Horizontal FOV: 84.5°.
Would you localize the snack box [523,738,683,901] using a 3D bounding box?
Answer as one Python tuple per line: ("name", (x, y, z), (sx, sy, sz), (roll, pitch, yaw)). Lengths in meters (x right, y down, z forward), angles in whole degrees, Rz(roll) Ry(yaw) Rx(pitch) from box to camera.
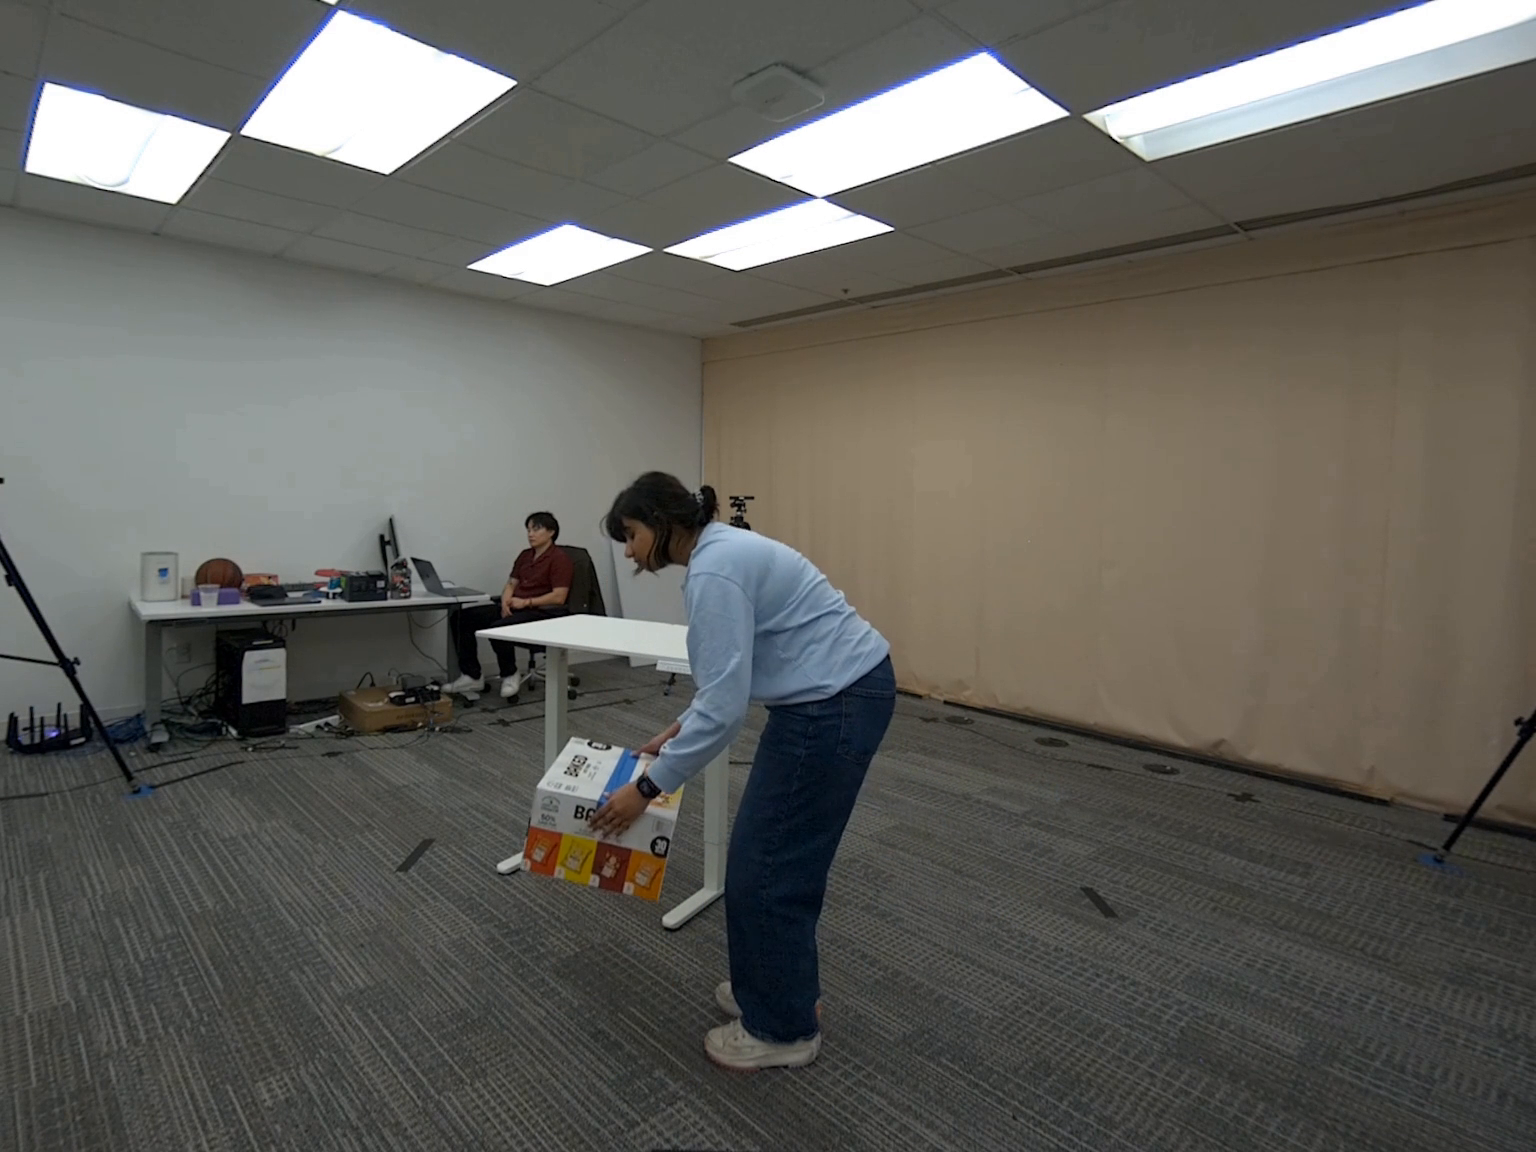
("snack box", (-0.405, 0.617, 2.183), (0.340, 0.205, 0.407), (13, 7, -1))
